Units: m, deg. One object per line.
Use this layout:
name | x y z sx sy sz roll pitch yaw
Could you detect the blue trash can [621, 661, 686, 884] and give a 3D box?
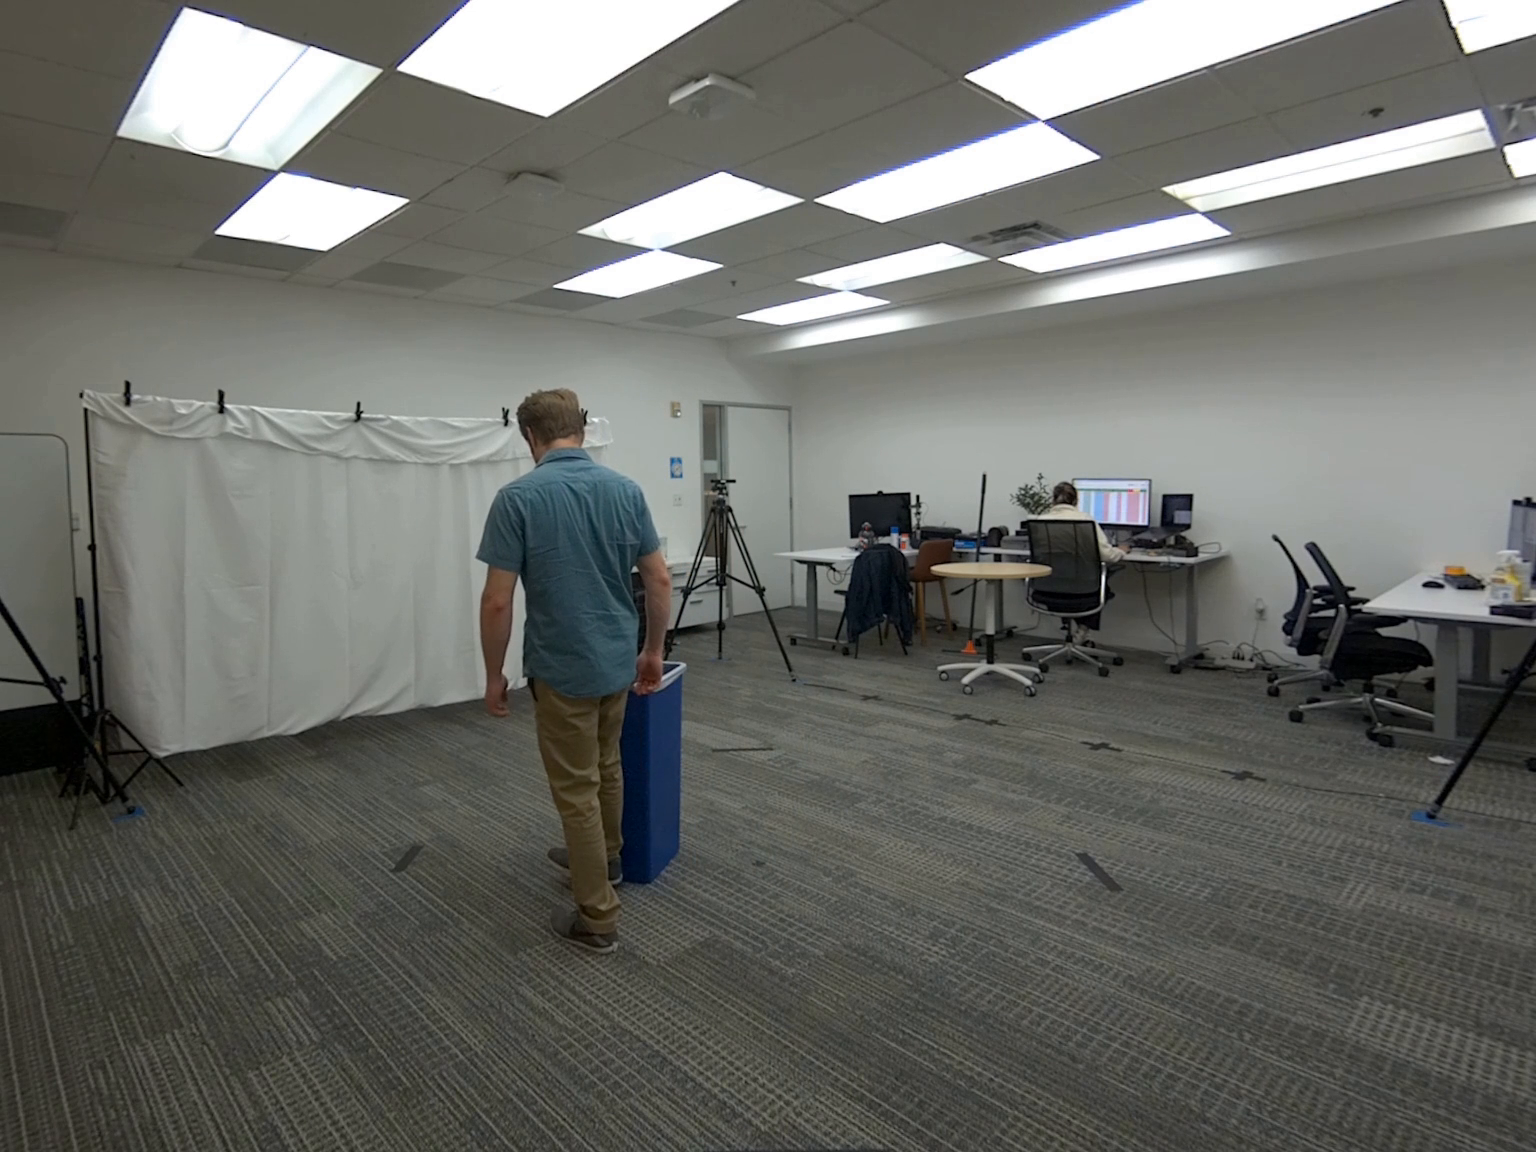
blue trash can | -0.512 0.697 3.128 0.380 0.711 0.373 0 4 16
